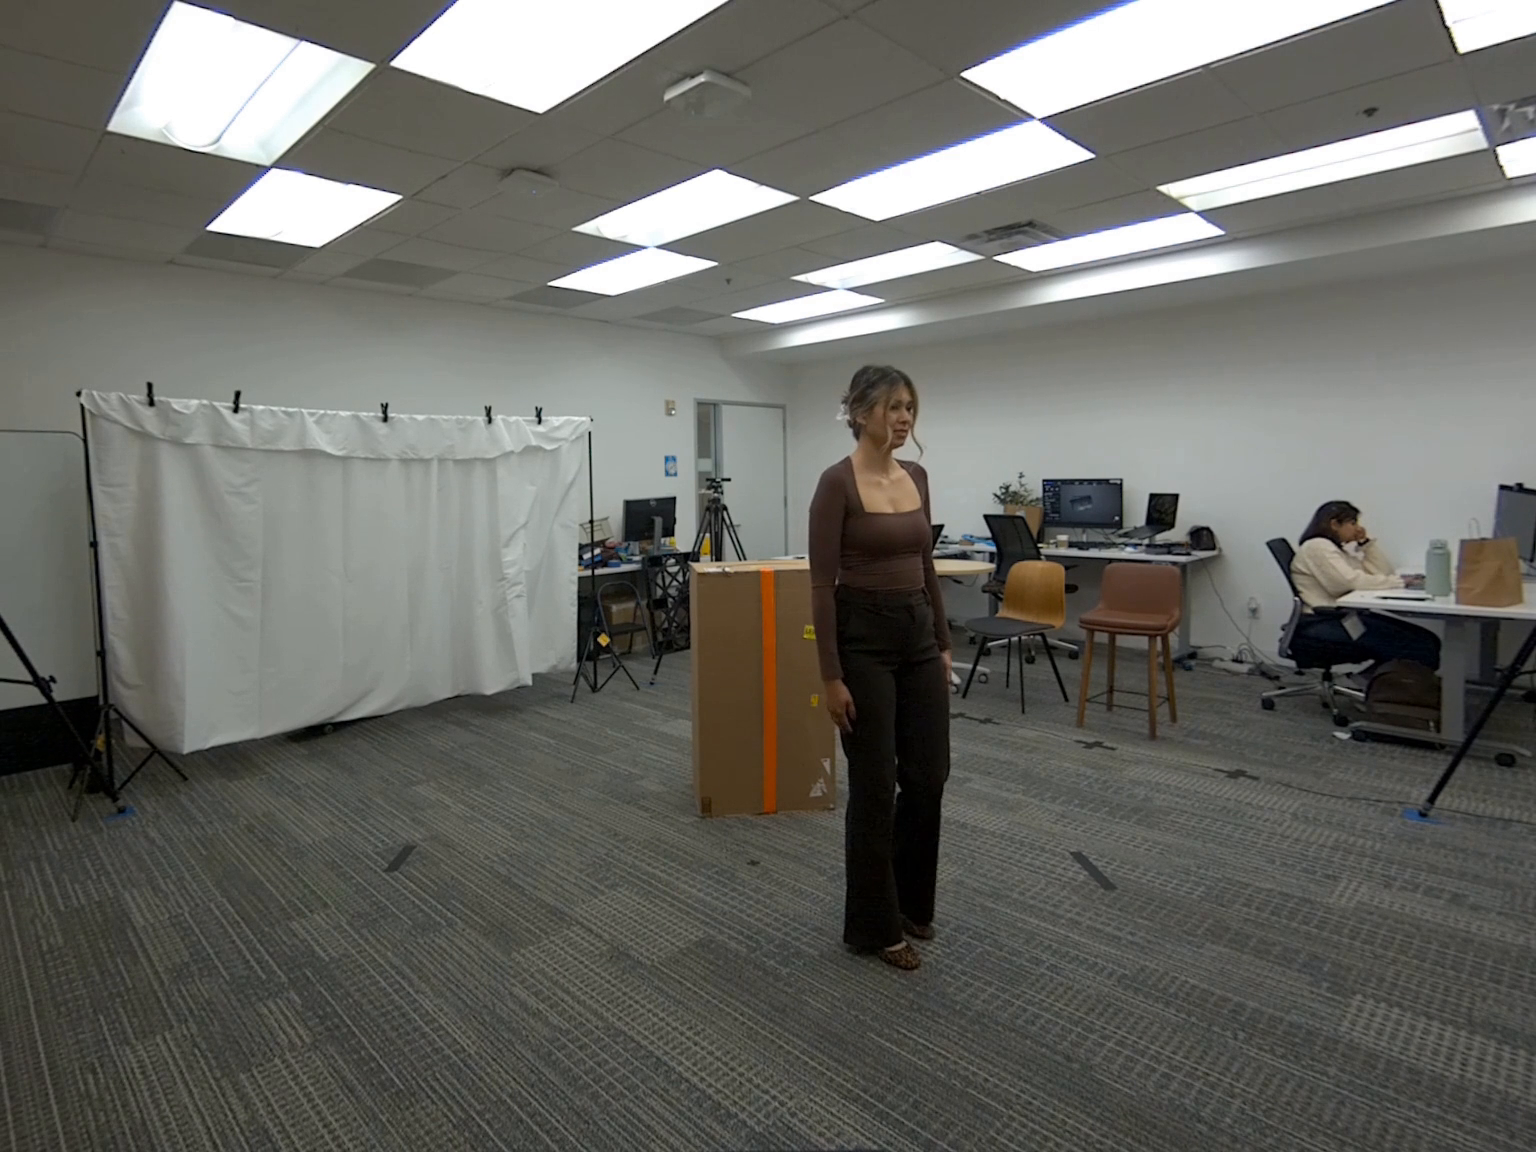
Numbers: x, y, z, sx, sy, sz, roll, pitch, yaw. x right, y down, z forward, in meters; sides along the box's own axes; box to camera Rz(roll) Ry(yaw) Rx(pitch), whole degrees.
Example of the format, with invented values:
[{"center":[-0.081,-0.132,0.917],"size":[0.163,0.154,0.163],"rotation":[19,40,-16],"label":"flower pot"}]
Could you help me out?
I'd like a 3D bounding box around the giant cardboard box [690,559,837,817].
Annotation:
[{"center":[-0.035,0.455,3.744],"size":[0.580,1.023,0.451],"rotation":[-2,4,-7],"label":"giant cardboard box"}]
